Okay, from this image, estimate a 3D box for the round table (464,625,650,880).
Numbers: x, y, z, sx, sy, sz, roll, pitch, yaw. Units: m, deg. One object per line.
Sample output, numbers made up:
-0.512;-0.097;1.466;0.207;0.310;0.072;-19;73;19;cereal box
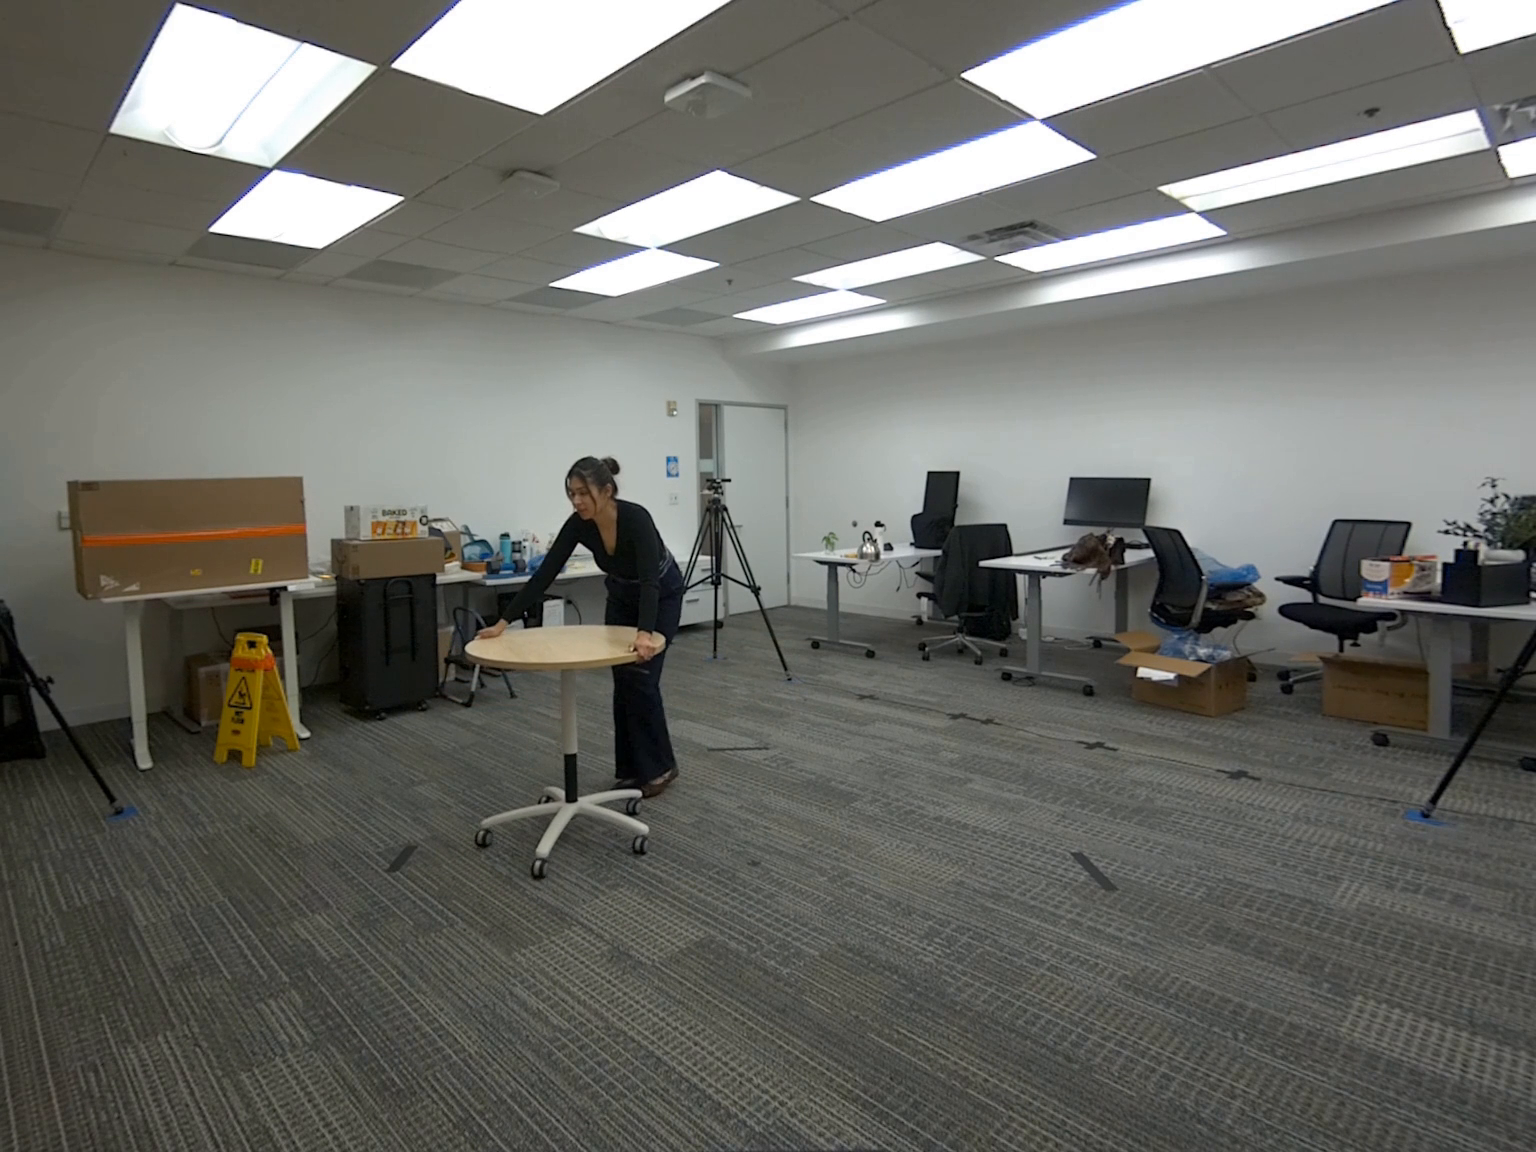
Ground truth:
-0.777;0.648;3.339;0.763;0.791;0.768;-1;5;-2;round table
